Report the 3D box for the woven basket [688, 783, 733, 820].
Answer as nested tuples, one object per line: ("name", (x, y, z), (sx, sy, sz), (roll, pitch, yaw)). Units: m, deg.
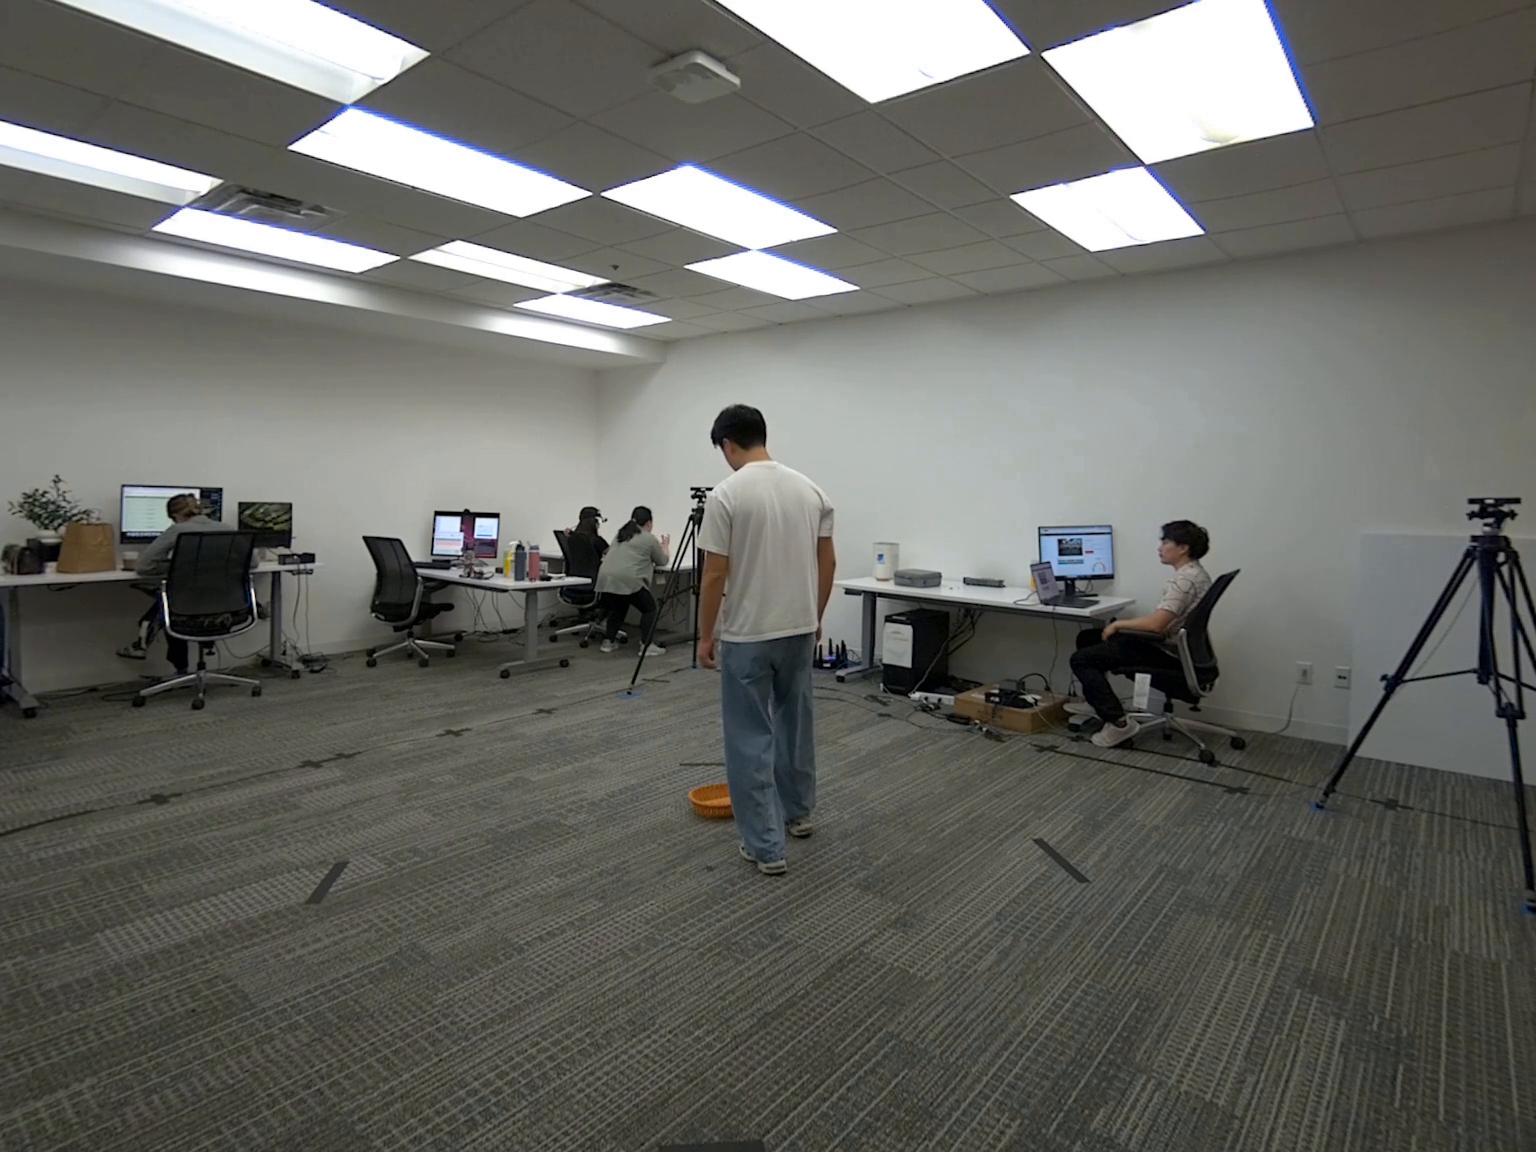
("woven basket", (-0.194, 0.968, 3.689), (0.341, 0.073, 0.260), (-2, 6, -31))
